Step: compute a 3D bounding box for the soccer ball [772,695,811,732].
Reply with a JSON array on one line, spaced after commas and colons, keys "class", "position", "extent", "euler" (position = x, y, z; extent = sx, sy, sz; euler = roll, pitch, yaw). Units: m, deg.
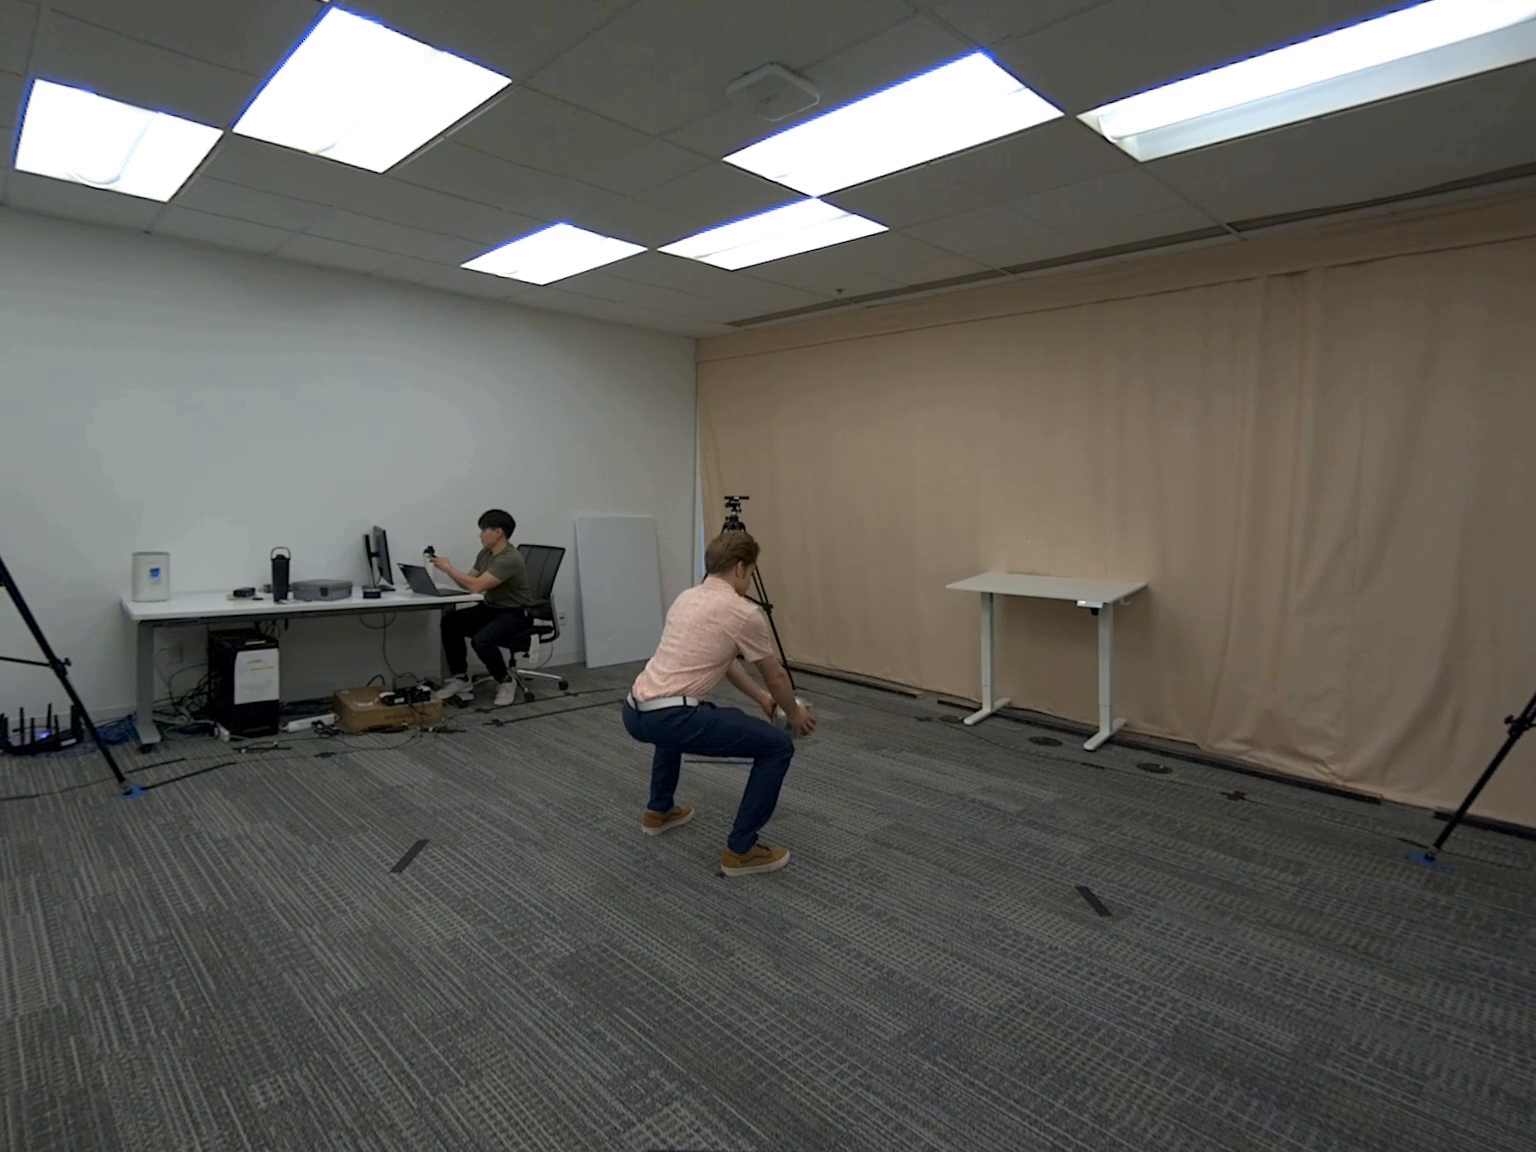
[{"class": "soccer ball", "position": [0.110, 0.619, 3.673], "extent": [0.187, 0.187, 0.188], "euler": [1, 4, -1]}]
